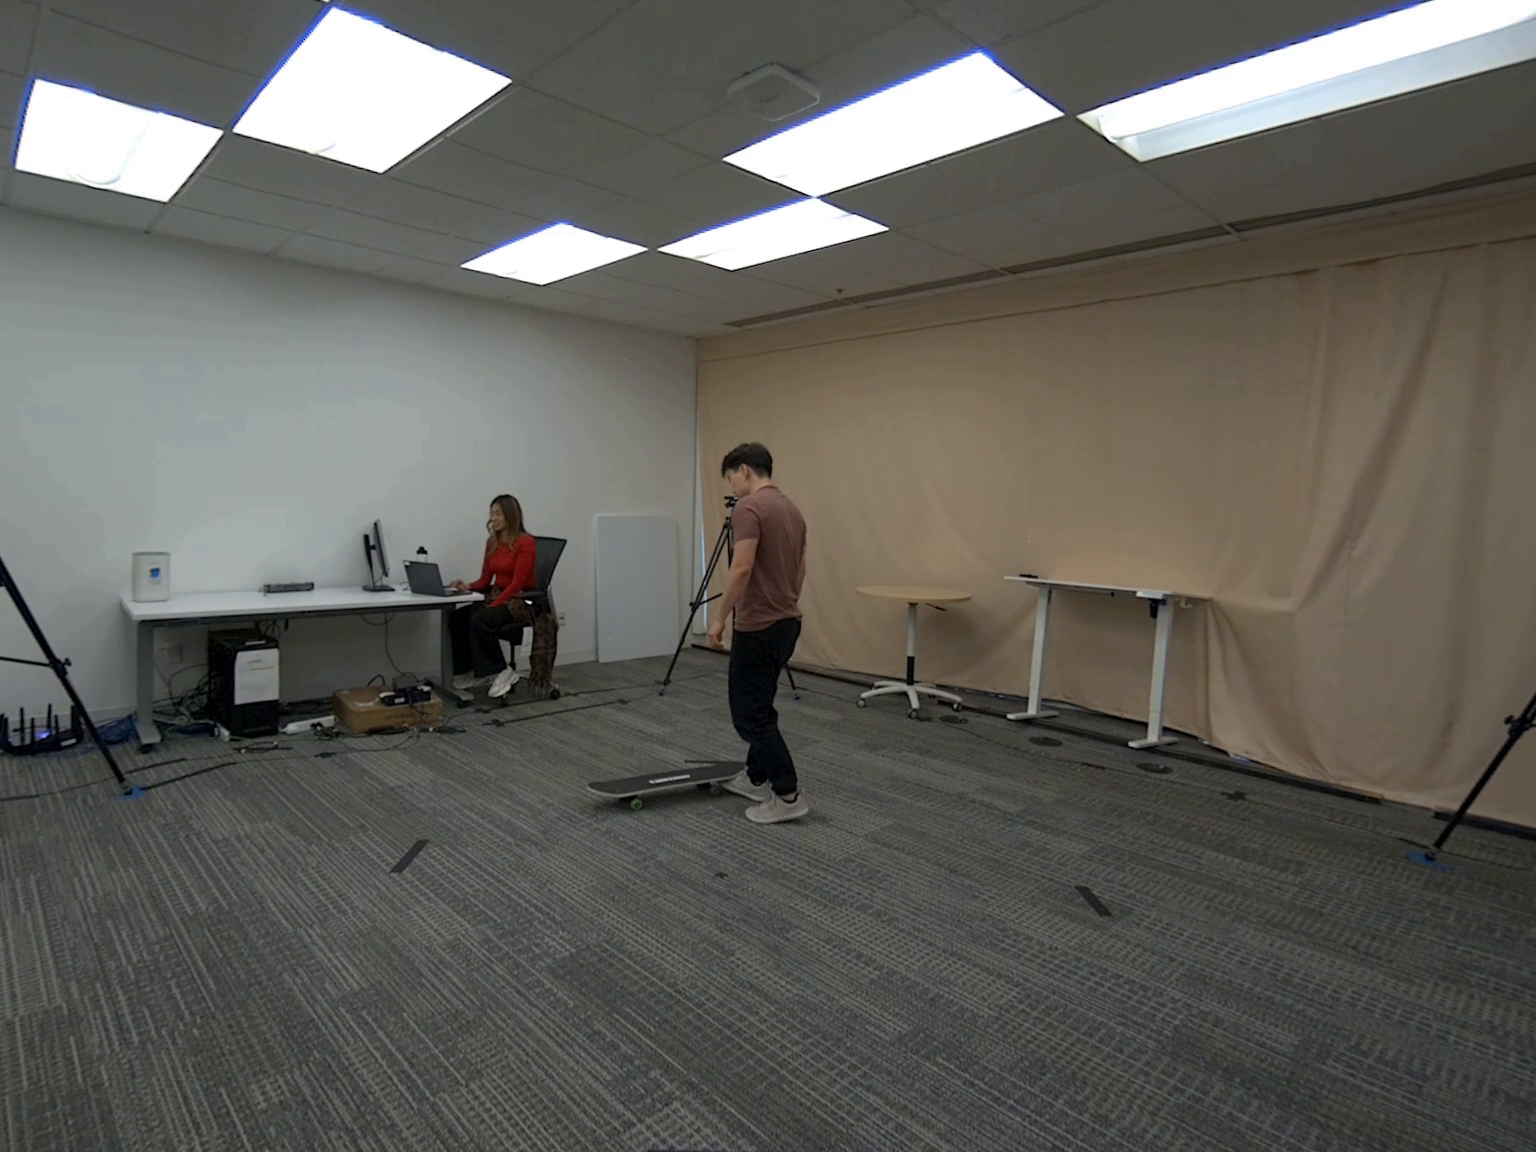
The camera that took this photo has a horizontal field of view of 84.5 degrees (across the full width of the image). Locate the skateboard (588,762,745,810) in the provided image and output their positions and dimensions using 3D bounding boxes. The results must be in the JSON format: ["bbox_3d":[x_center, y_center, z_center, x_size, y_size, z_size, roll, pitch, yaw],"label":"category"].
[{"bbox_3d":[-0.466,0.969,3.892,0.769,0.110,0.198,-2,6,-31],"label":"skateboard"}]
